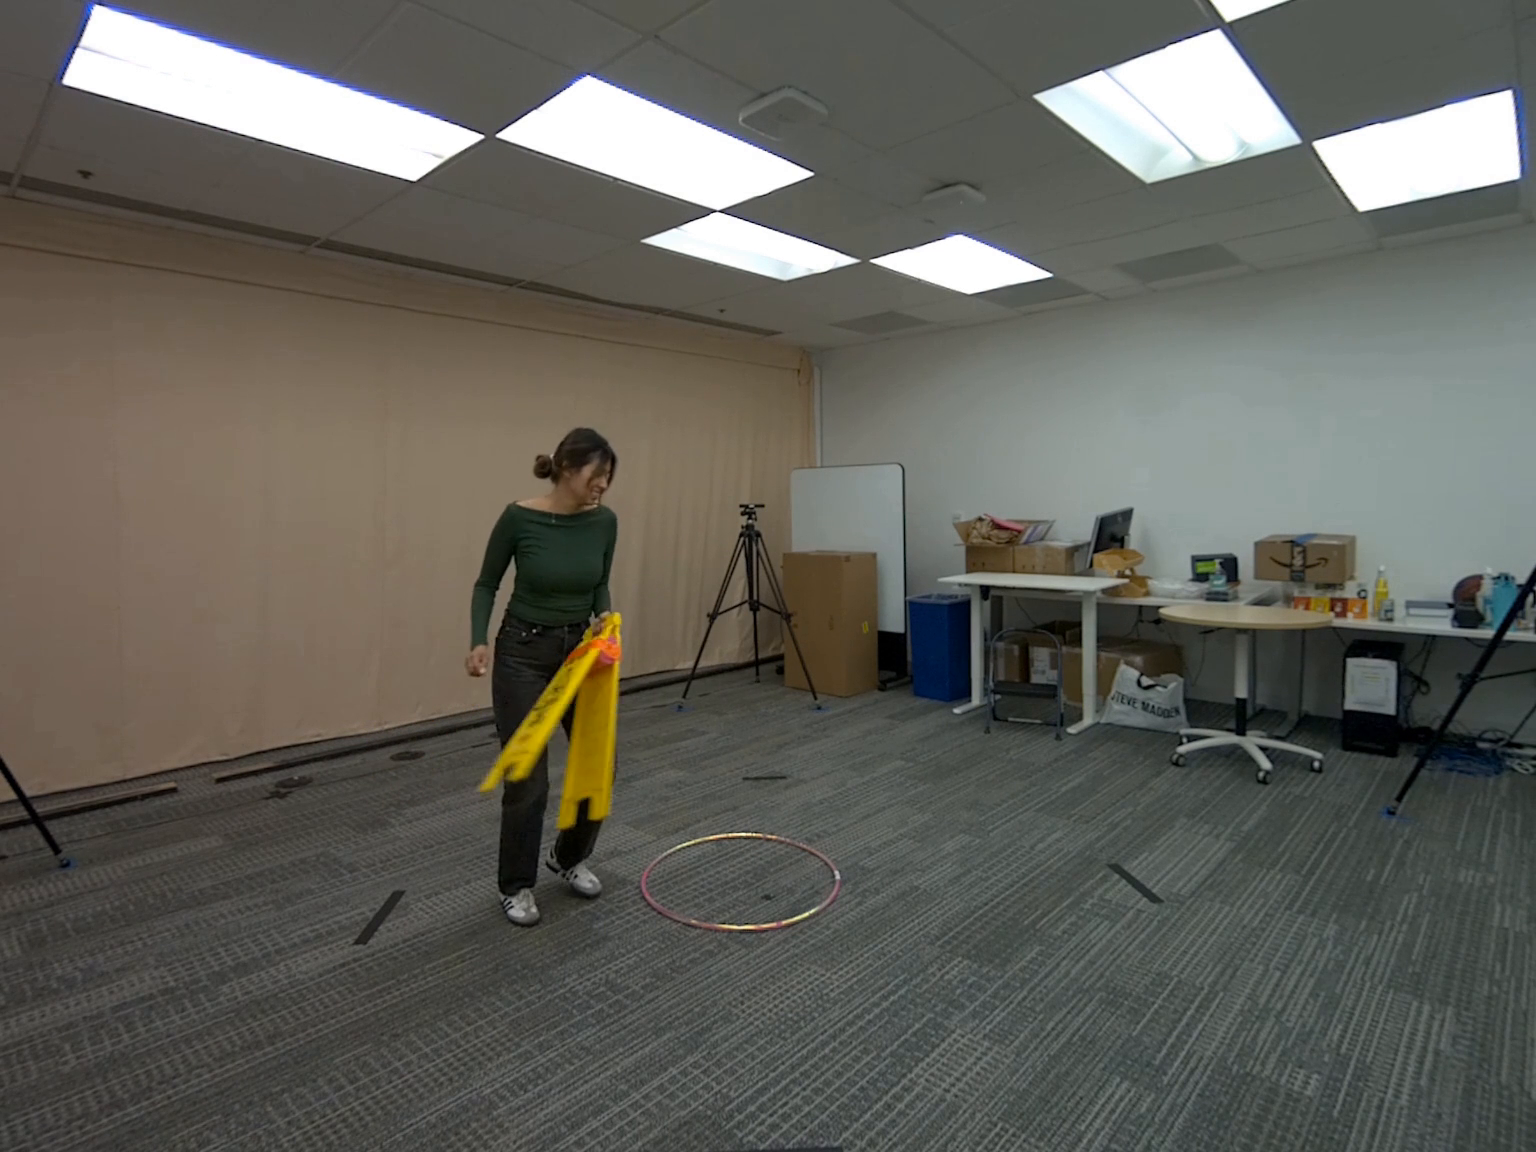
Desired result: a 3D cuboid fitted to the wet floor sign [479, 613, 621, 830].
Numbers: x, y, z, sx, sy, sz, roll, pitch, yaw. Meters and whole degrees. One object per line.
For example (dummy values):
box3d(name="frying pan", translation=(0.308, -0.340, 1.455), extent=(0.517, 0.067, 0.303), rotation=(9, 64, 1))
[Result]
box3d(name="wet floor sign", translation=(-0.601, 0.401, 2.666), extent=(0.281, 0.653, 0.287), rotation=(33, -41, -28))
